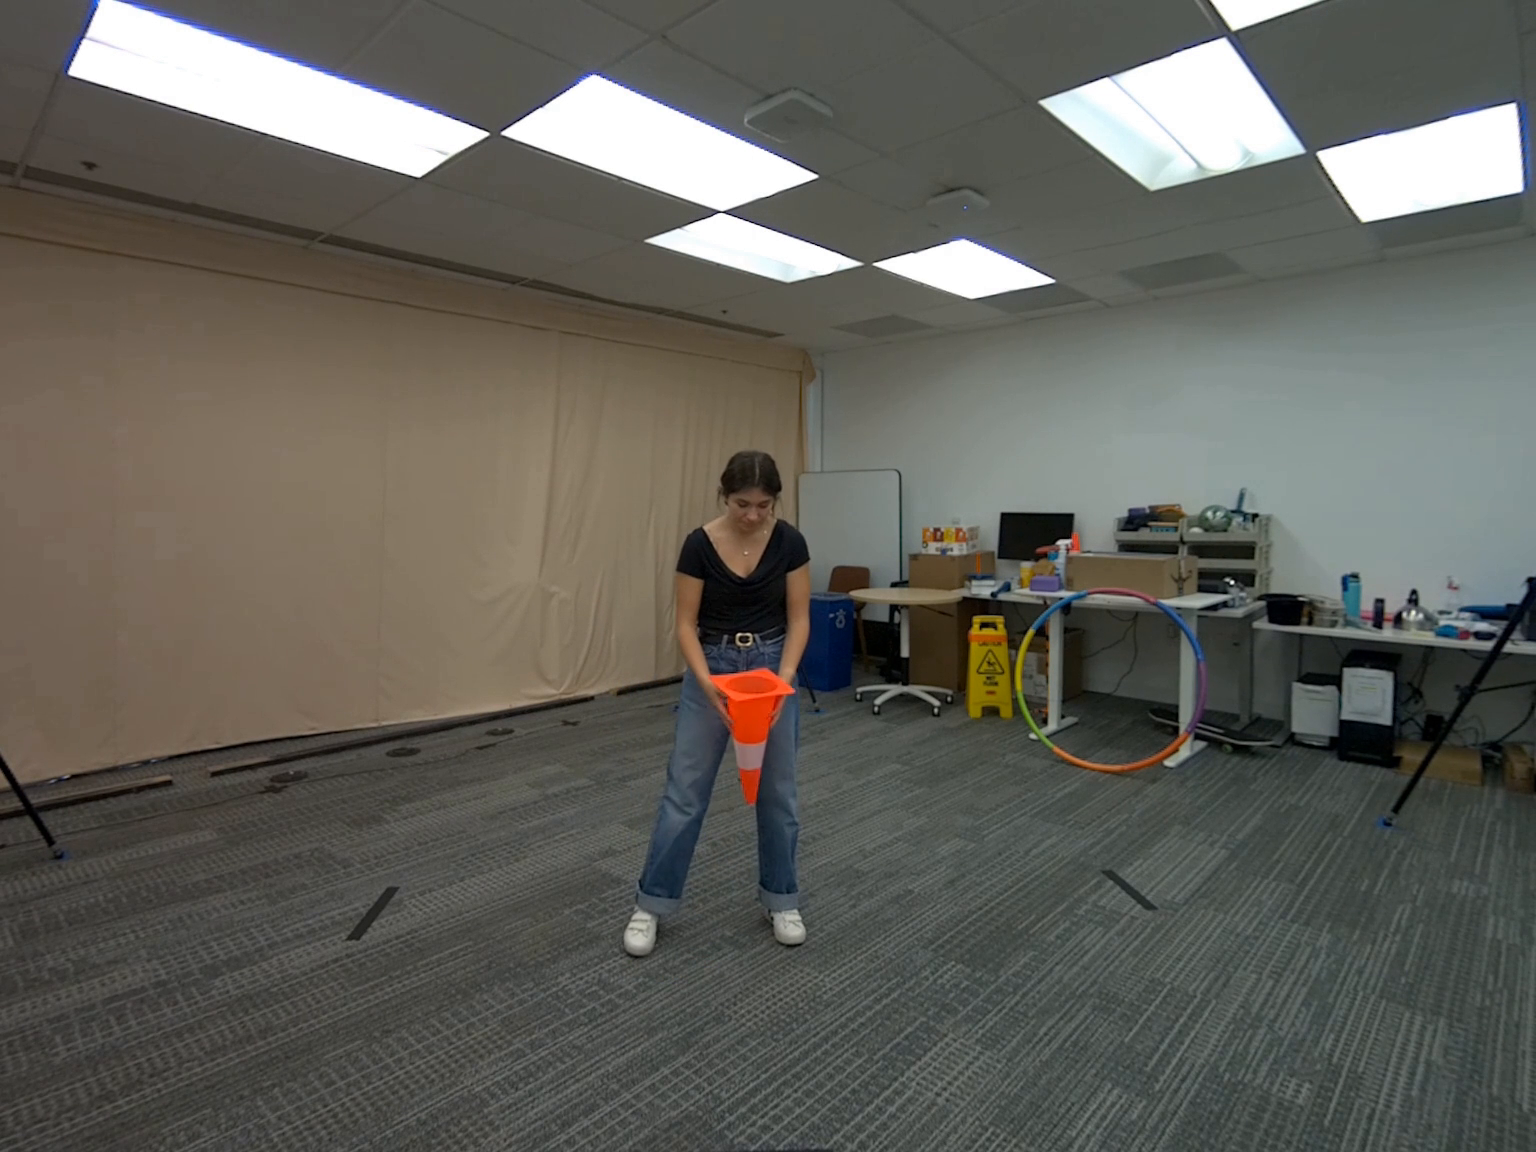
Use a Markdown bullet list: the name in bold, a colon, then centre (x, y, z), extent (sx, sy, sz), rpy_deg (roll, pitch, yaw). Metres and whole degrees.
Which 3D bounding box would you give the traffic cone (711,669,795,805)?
- **traffic cone**: centre (-0.054, 0.508, 2.524), extent (0.198, 0.380, 0.212), rpy_deg (-9, 16, -29)
